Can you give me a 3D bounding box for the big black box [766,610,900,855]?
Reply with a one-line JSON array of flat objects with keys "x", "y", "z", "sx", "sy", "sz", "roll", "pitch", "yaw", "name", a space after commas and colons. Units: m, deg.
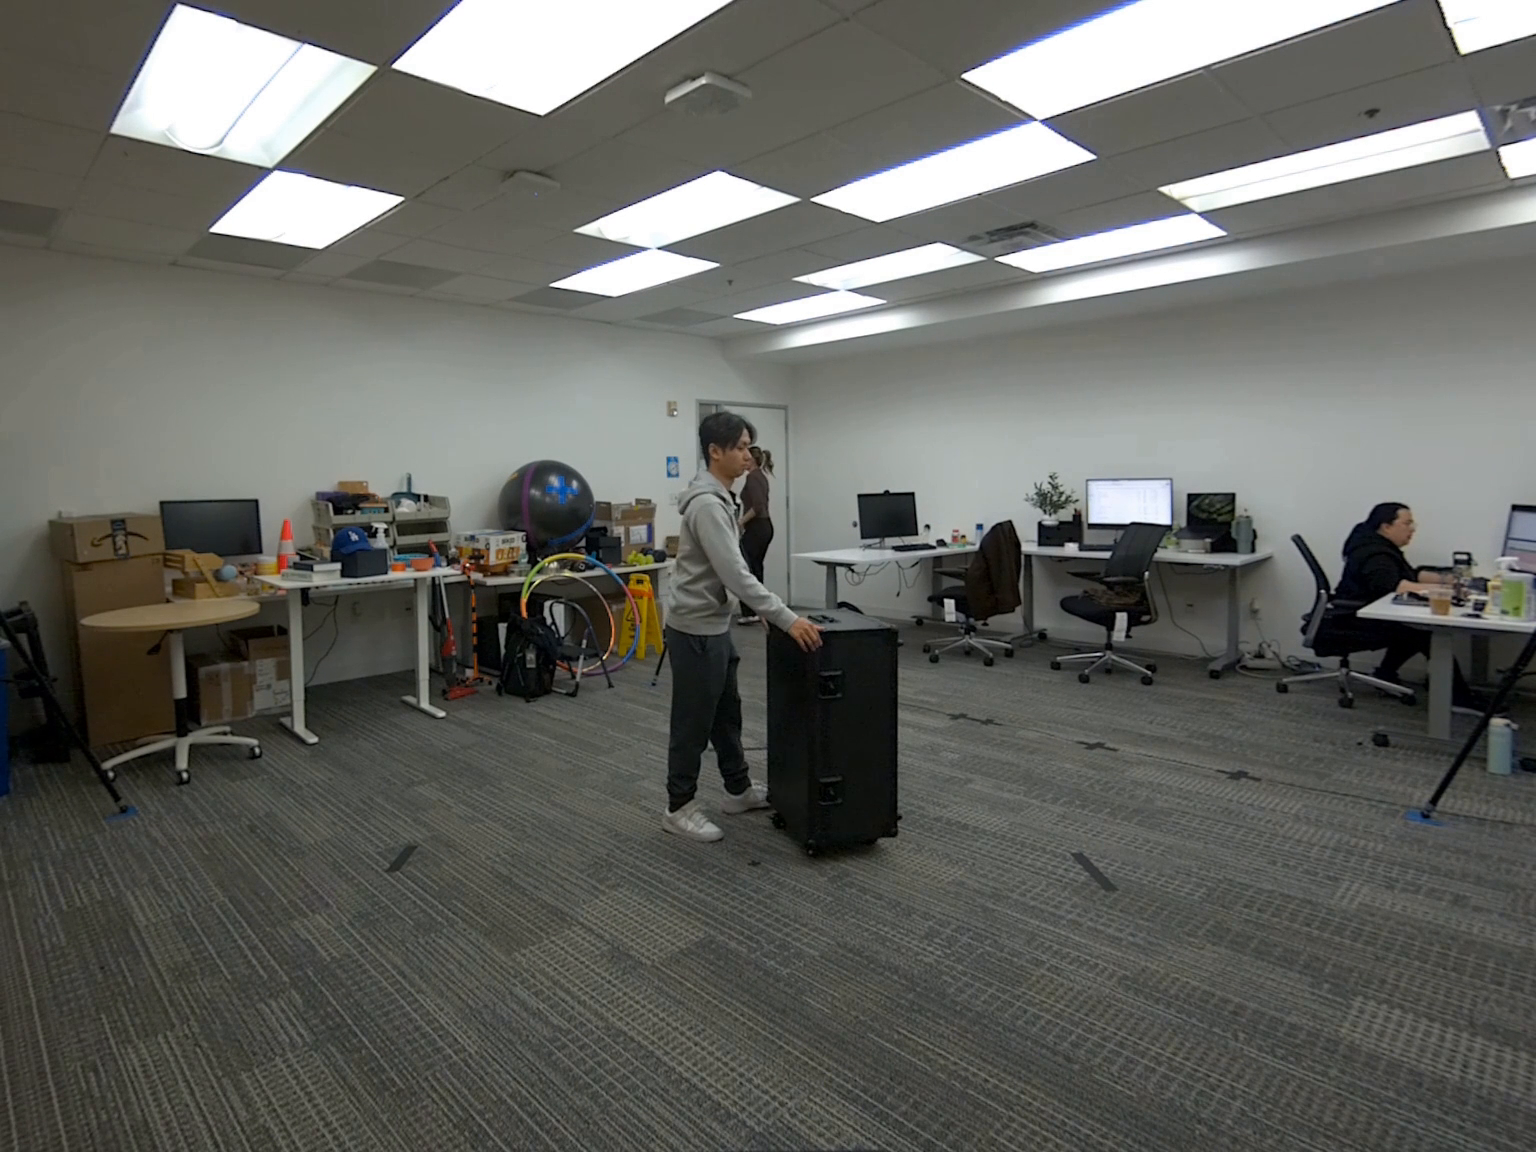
[{"x": 0.247, "y": 0.589, "z": 3.318, "sx": 0.390, "sy": 0.859, "sz": 0.531, "roll": -1, "pitch": 4, "yaw": -17, "name": "big black box"}]
